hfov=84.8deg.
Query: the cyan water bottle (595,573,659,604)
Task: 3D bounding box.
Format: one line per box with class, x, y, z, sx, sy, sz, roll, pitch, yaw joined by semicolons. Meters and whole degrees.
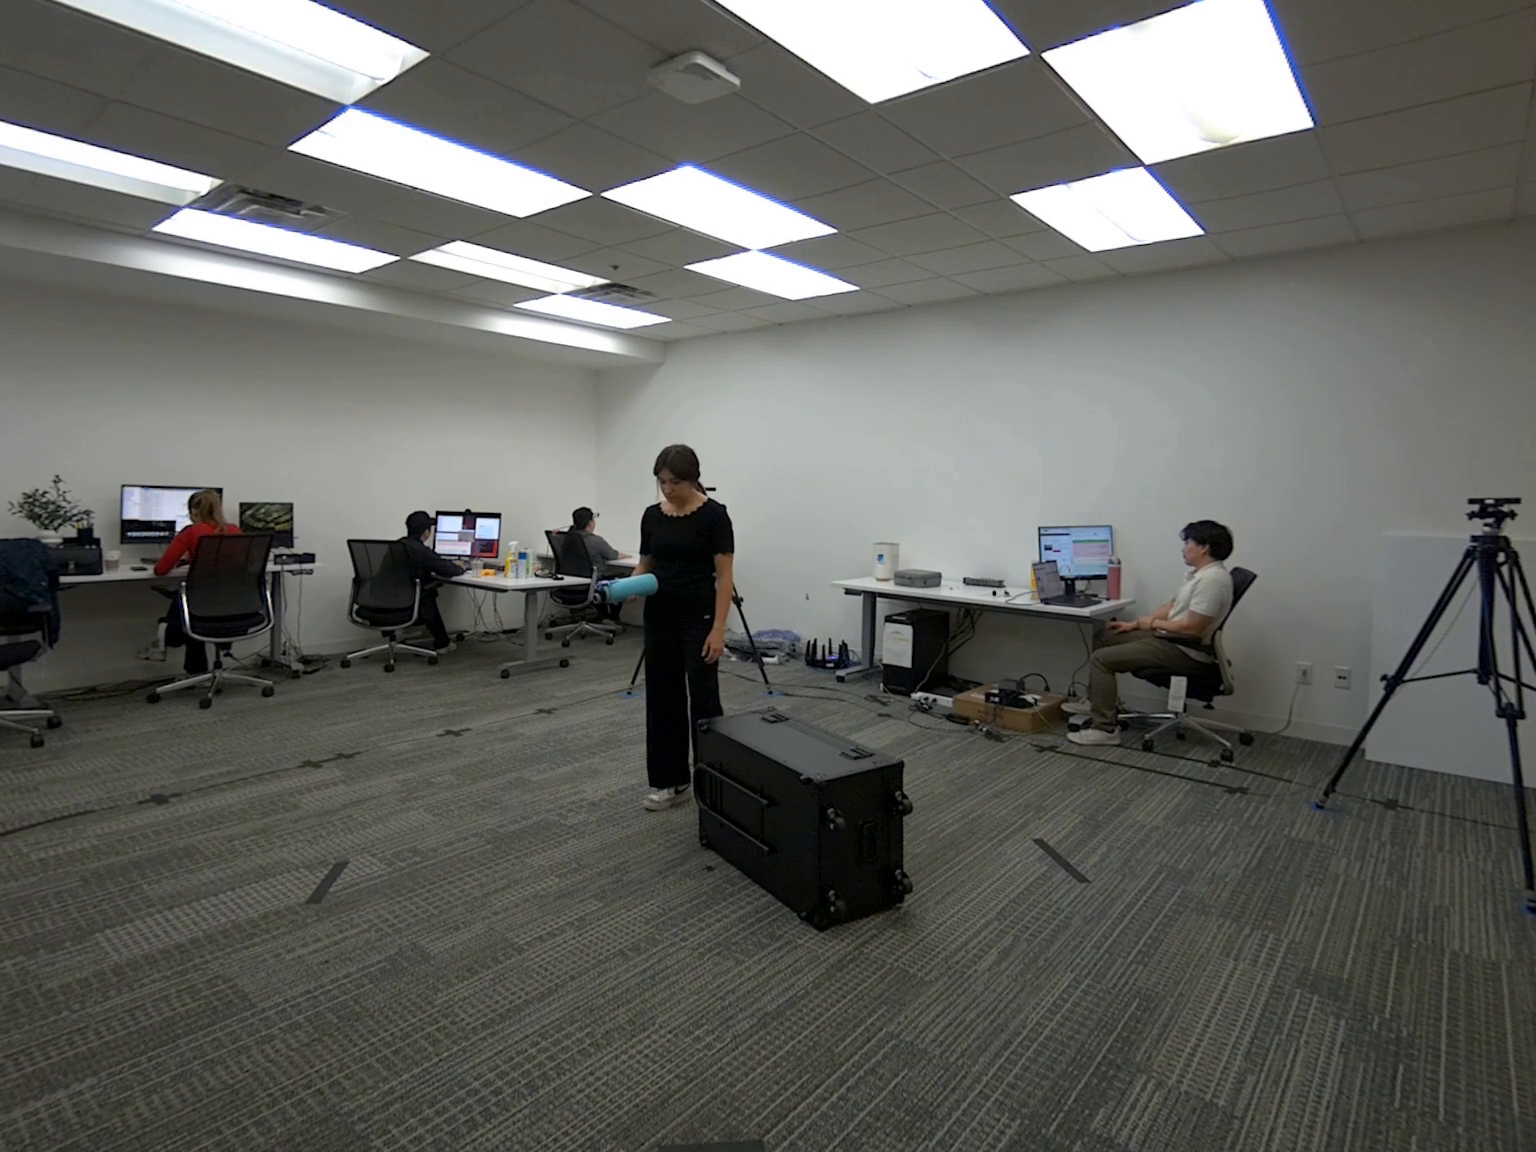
cyan water bottle;-0.601;0.054;3.503;0.276;0.092;0.095;-10;10;-40
